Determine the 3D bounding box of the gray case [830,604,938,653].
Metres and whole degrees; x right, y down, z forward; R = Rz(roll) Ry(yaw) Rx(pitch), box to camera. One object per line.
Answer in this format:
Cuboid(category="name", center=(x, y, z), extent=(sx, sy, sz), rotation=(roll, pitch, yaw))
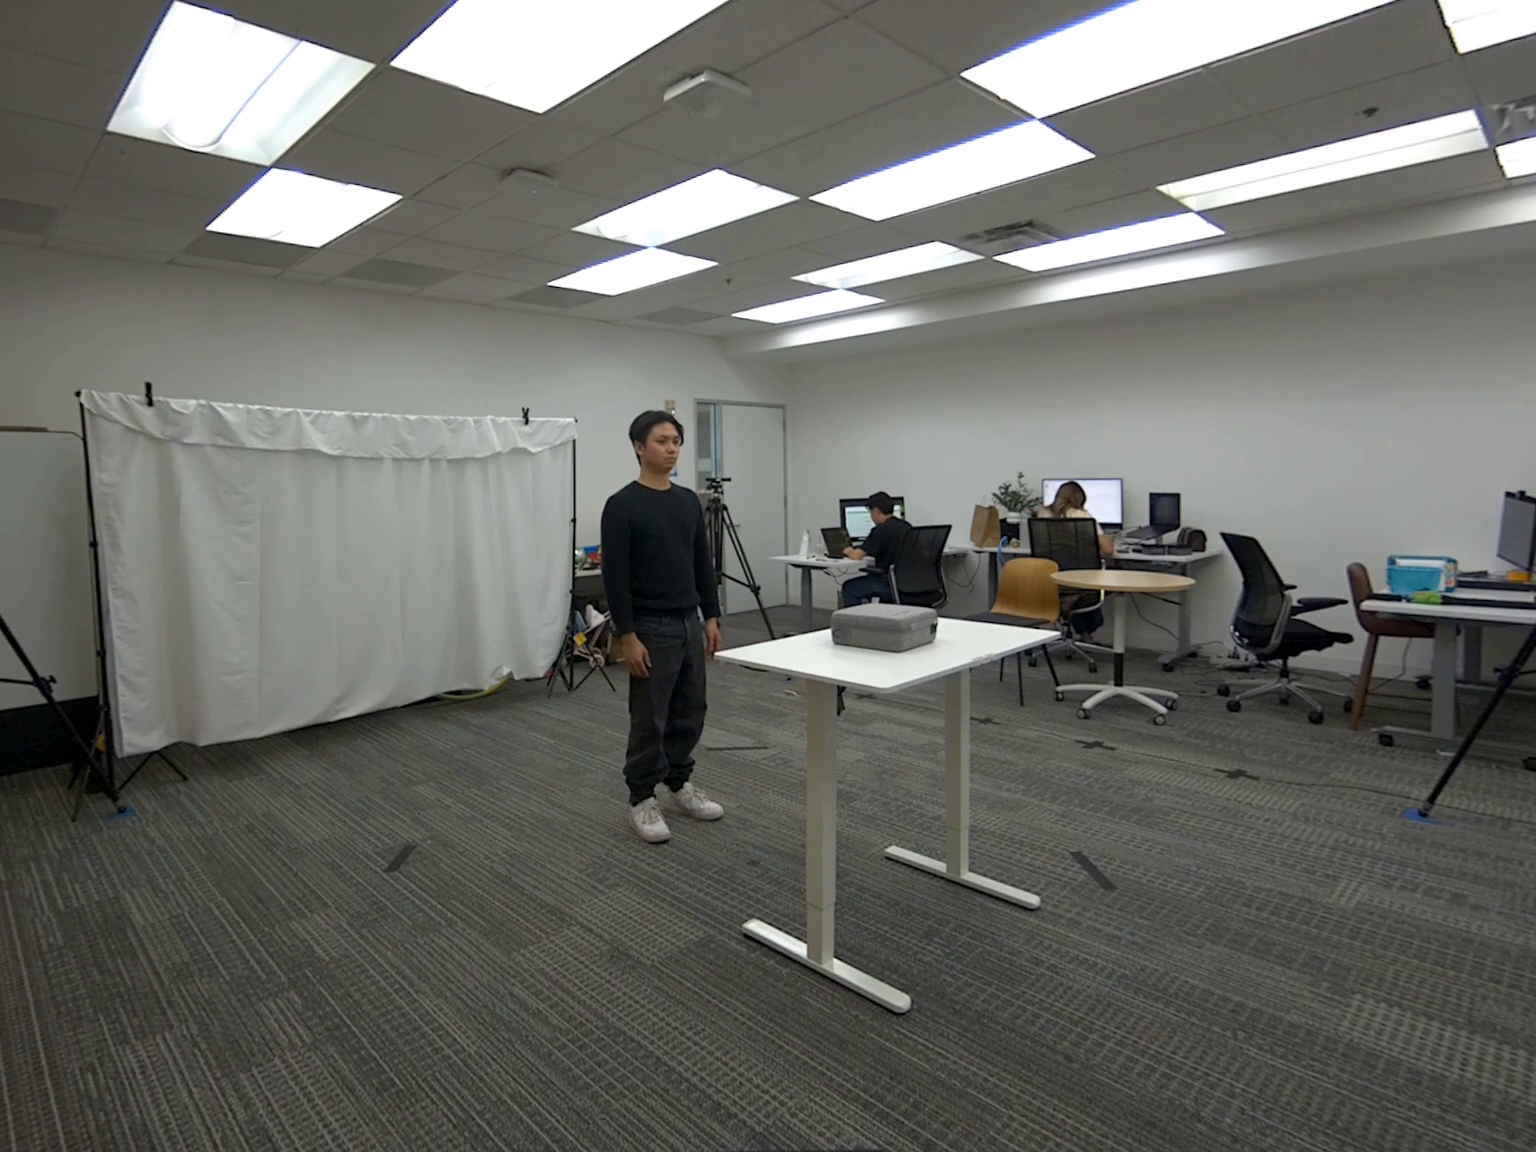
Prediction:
Cuboid(category="gray case", center=(0.359, 0.153, 2.631), extent=(0.268, 0.104, 0.250), rotation=(4, 8, 39))
